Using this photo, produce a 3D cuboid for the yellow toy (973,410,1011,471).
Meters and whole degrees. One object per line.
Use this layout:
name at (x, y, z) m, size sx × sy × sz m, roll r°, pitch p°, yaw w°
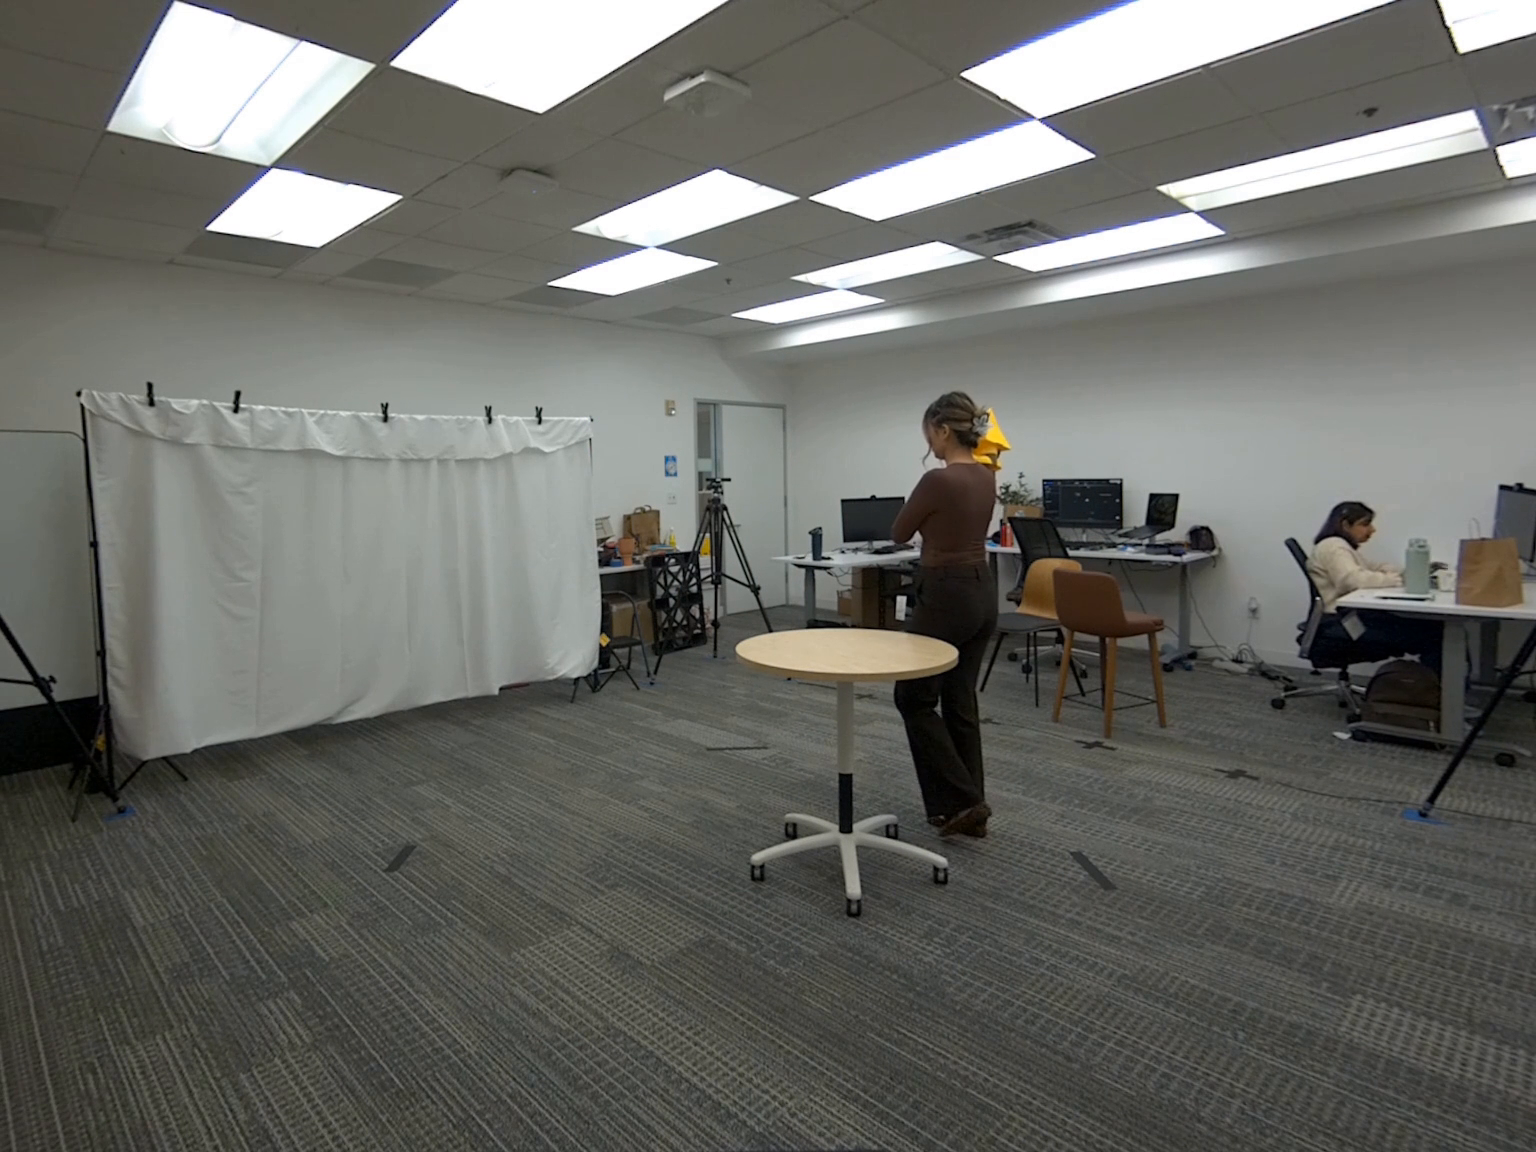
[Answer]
yellow toy at (0.834, -0.540, 3.376) m, size 0.198 × 0.232 × 0.198 m, roll -7°, pitch -10°, yaw 42°
